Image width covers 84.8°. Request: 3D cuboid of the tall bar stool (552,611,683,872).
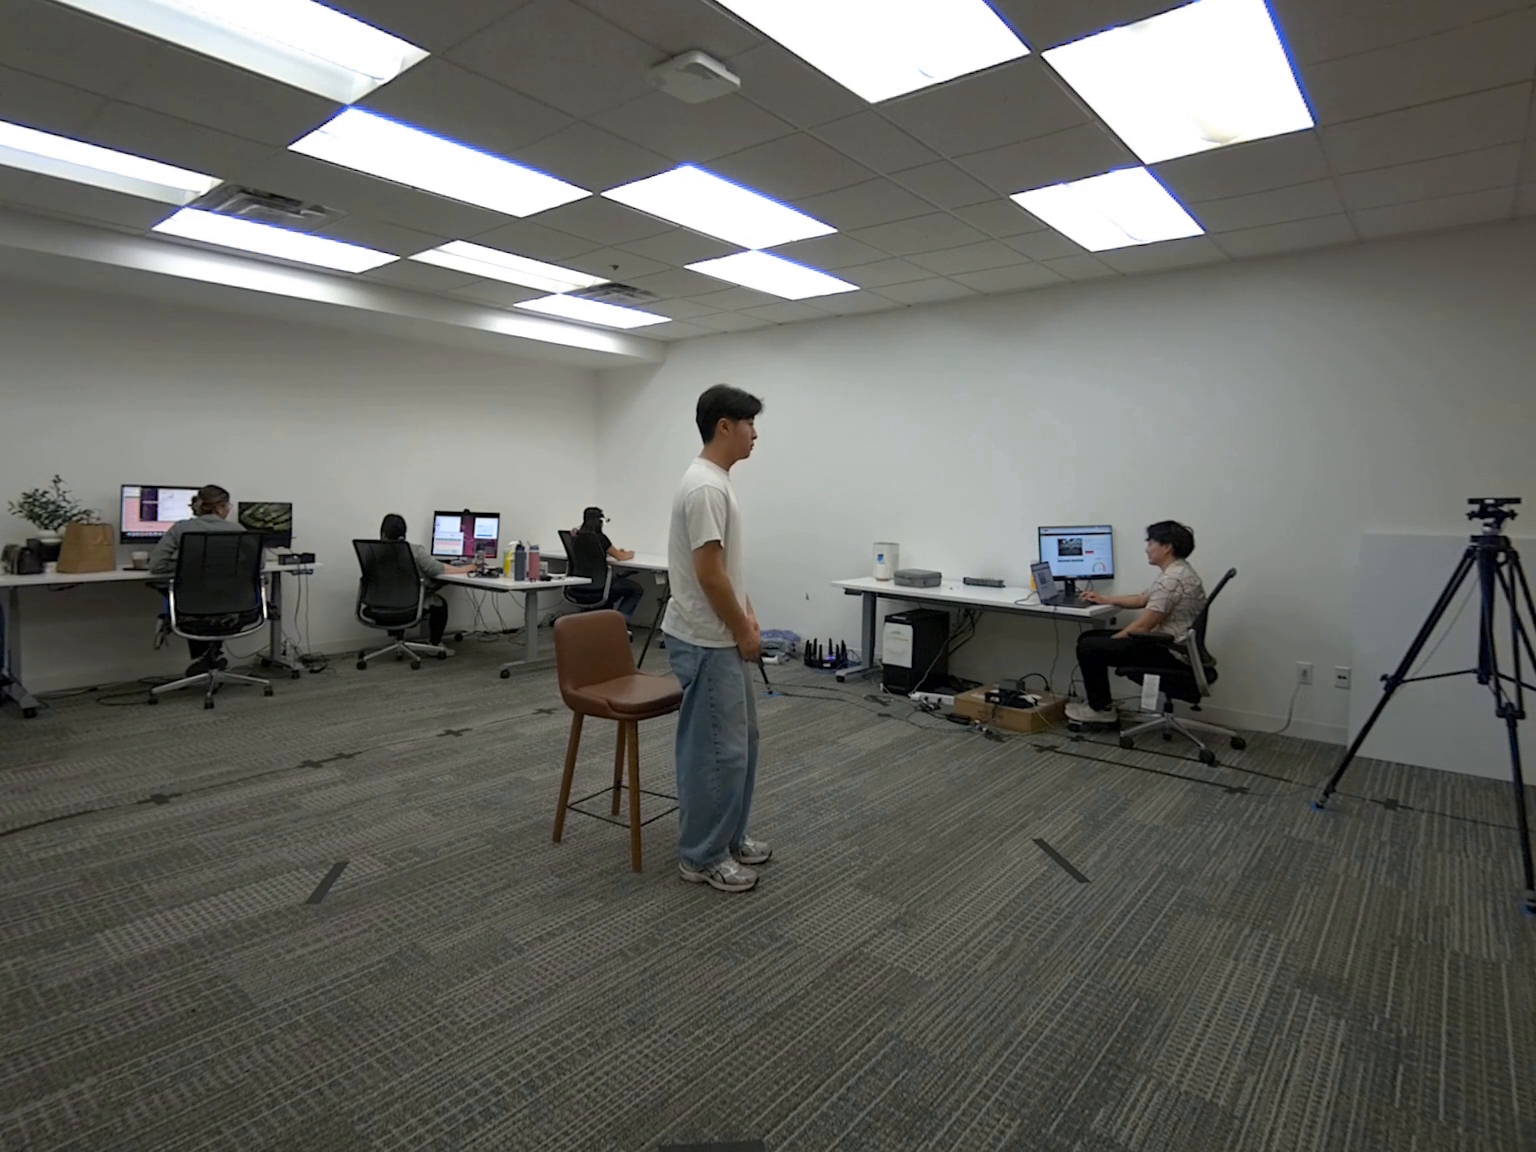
[{"bbox_3d":[-0.564,0.598,3.339,0.482,0.889,0.444,1,2,33],"label":"tall bar stool"}]
